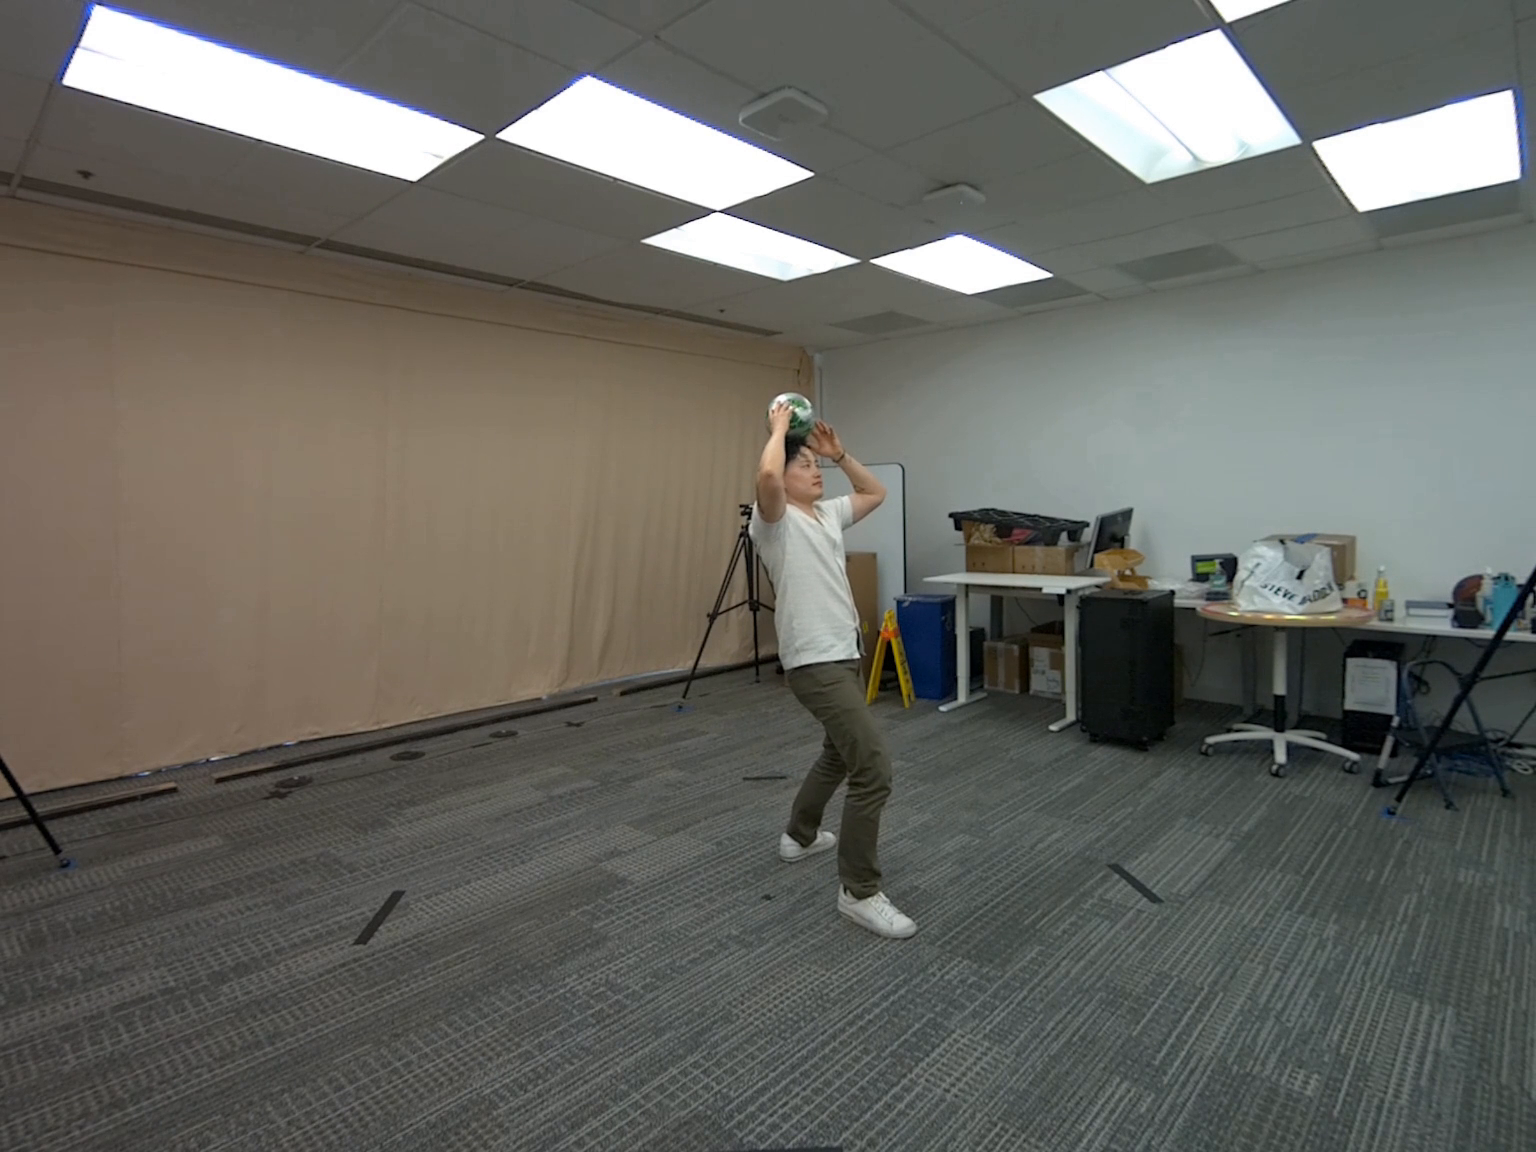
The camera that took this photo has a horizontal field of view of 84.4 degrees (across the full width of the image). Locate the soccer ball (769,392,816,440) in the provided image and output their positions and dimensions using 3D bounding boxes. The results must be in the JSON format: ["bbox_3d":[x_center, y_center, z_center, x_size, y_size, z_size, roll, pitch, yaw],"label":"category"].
[{"bbox_3d":[0.079,-0.580,3.107,0.187,0.187,0.188,-1,4,-2],"label":"soccer ball"}]
